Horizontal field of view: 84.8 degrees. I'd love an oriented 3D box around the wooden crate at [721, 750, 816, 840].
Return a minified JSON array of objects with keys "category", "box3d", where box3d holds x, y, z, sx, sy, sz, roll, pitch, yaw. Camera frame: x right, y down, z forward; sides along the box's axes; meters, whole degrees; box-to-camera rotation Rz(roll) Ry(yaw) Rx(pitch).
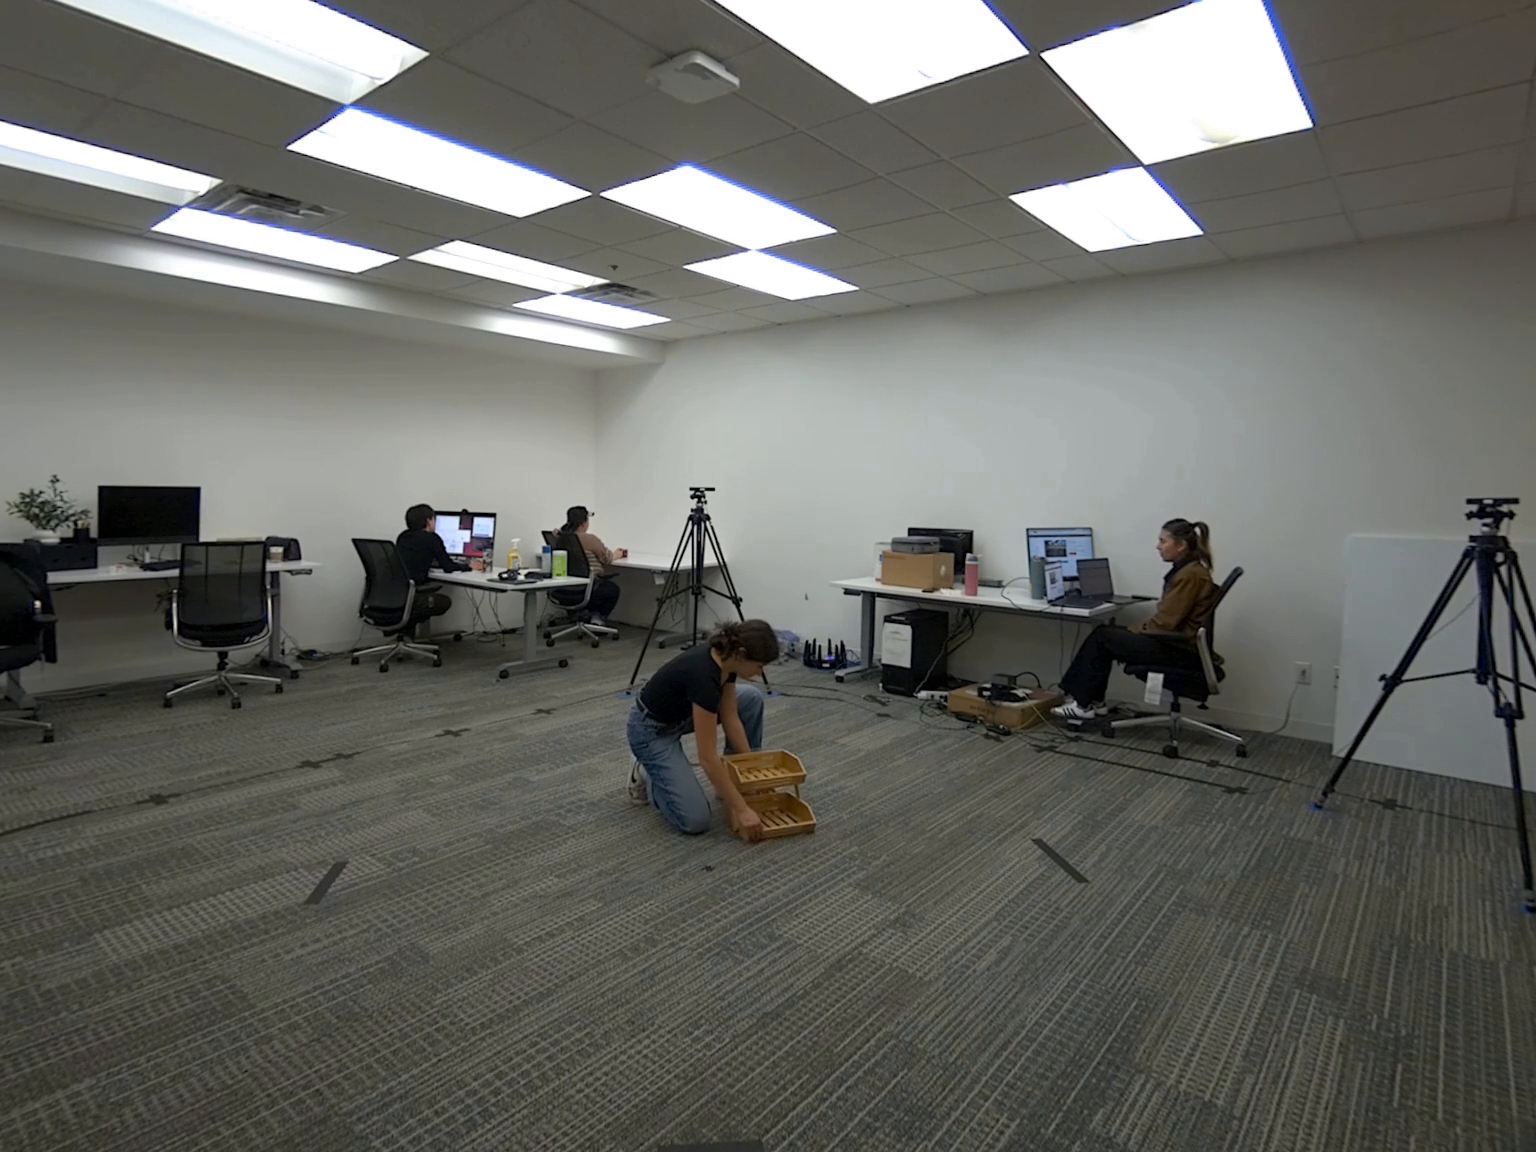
[{"category":"wooden crate","box3d":[-0.010,0.896,3.519,0.317,0.272,0.310,-1,5,-25]}]
